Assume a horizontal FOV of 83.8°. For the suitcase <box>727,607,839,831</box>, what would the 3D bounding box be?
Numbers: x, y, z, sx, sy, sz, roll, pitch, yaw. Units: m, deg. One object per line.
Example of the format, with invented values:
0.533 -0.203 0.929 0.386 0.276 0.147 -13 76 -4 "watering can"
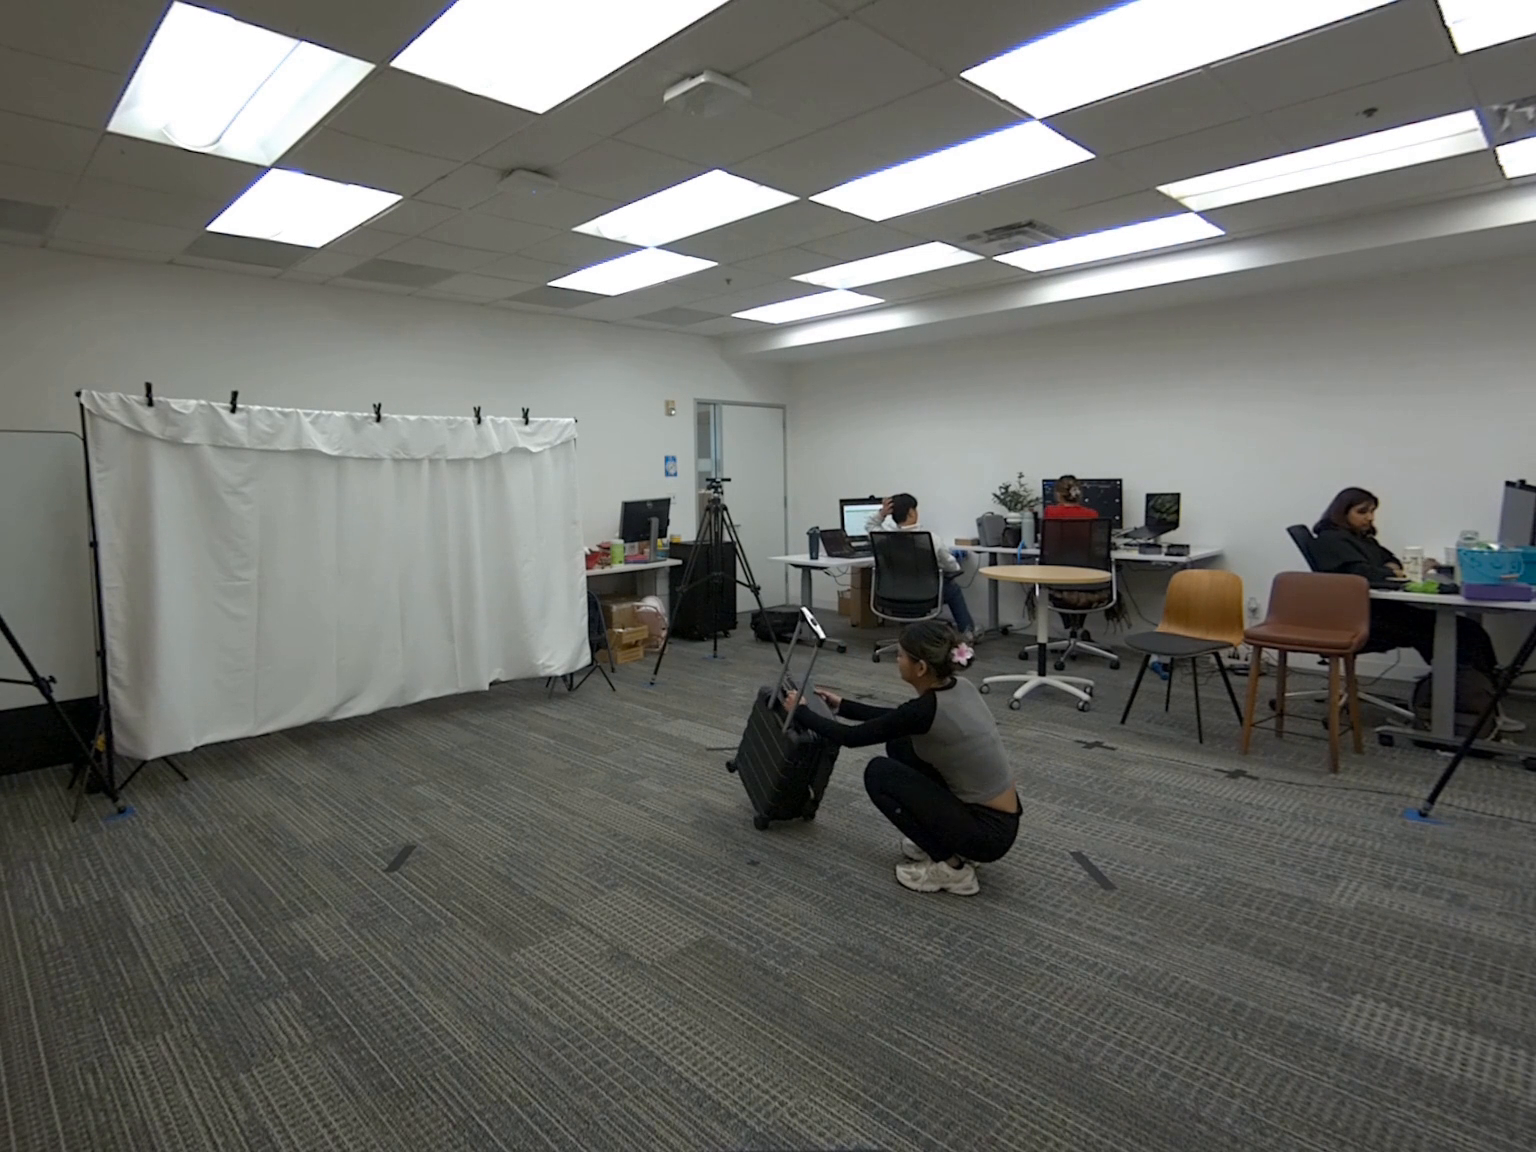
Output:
0.134 0.546 3.310 0.251 0.964 0.399 0 39 -27 "suitcase"
